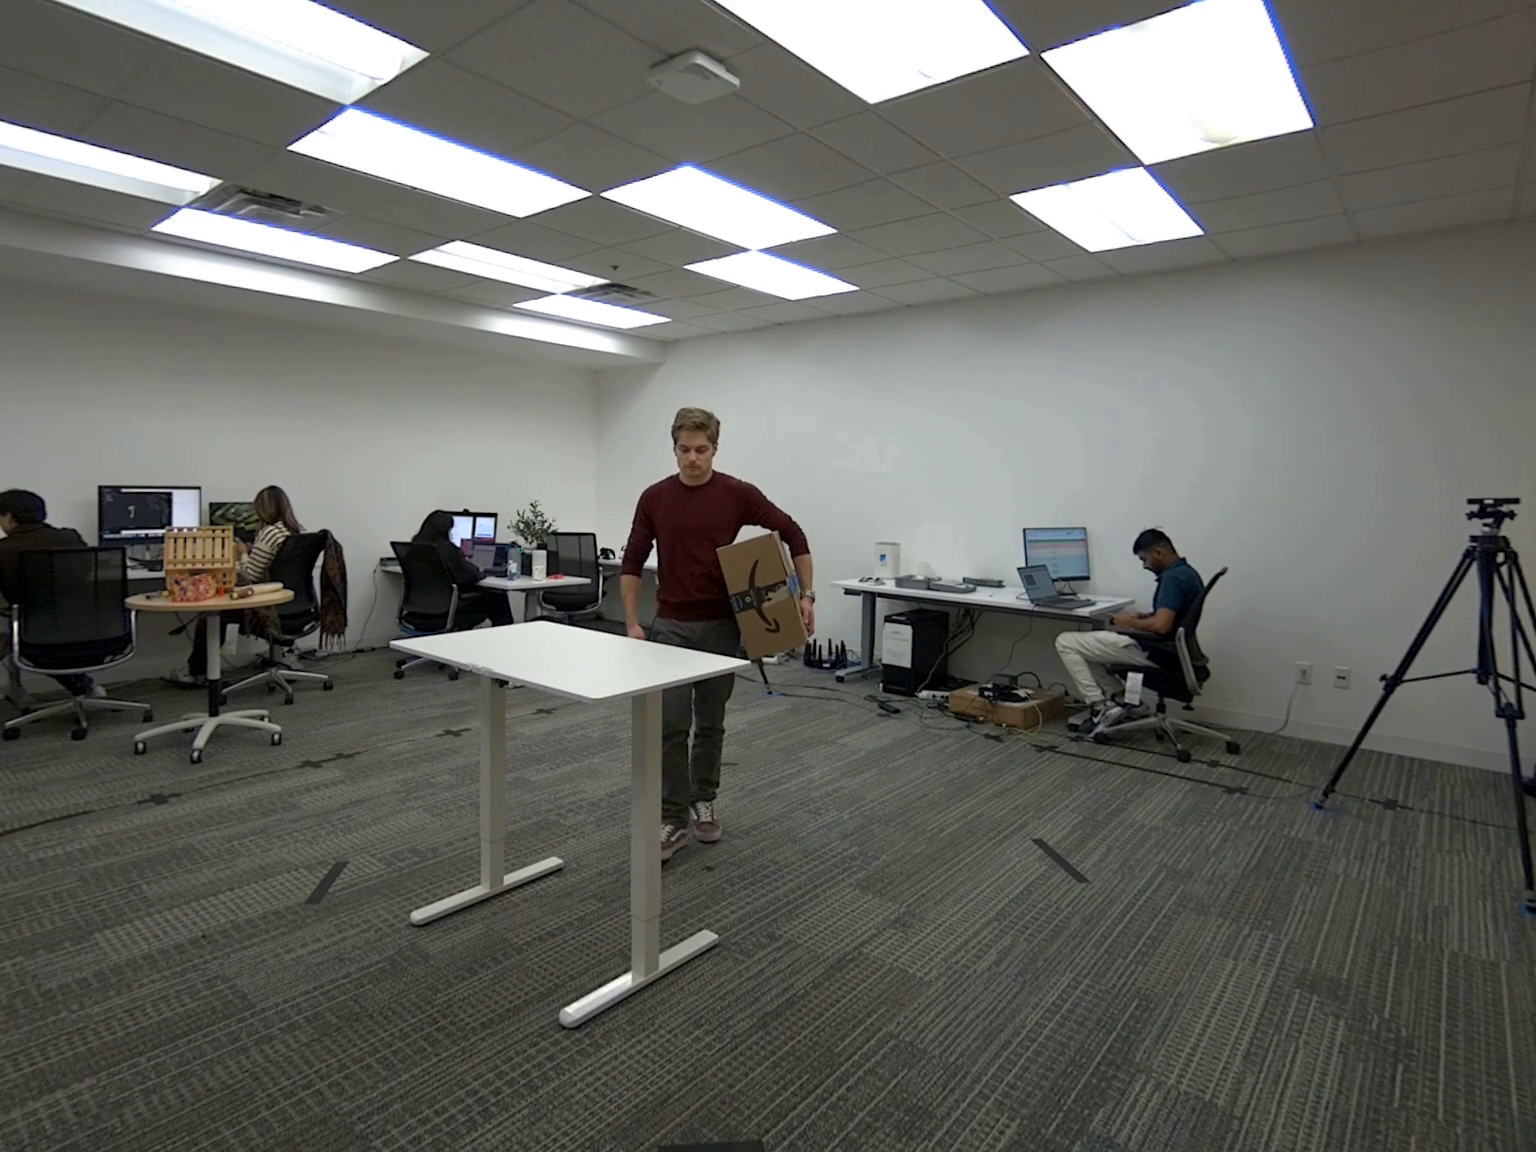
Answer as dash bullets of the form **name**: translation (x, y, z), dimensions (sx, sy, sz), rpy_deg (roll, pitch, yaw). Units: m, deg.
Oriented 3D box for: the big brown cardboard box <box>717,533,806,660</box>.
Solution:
- **big brown cardboard box**: translation (-0.014, 0.048, 3.282), dimensions (0.234, 0.417, 0.587), rpy_deg (-16, 2, 5)
